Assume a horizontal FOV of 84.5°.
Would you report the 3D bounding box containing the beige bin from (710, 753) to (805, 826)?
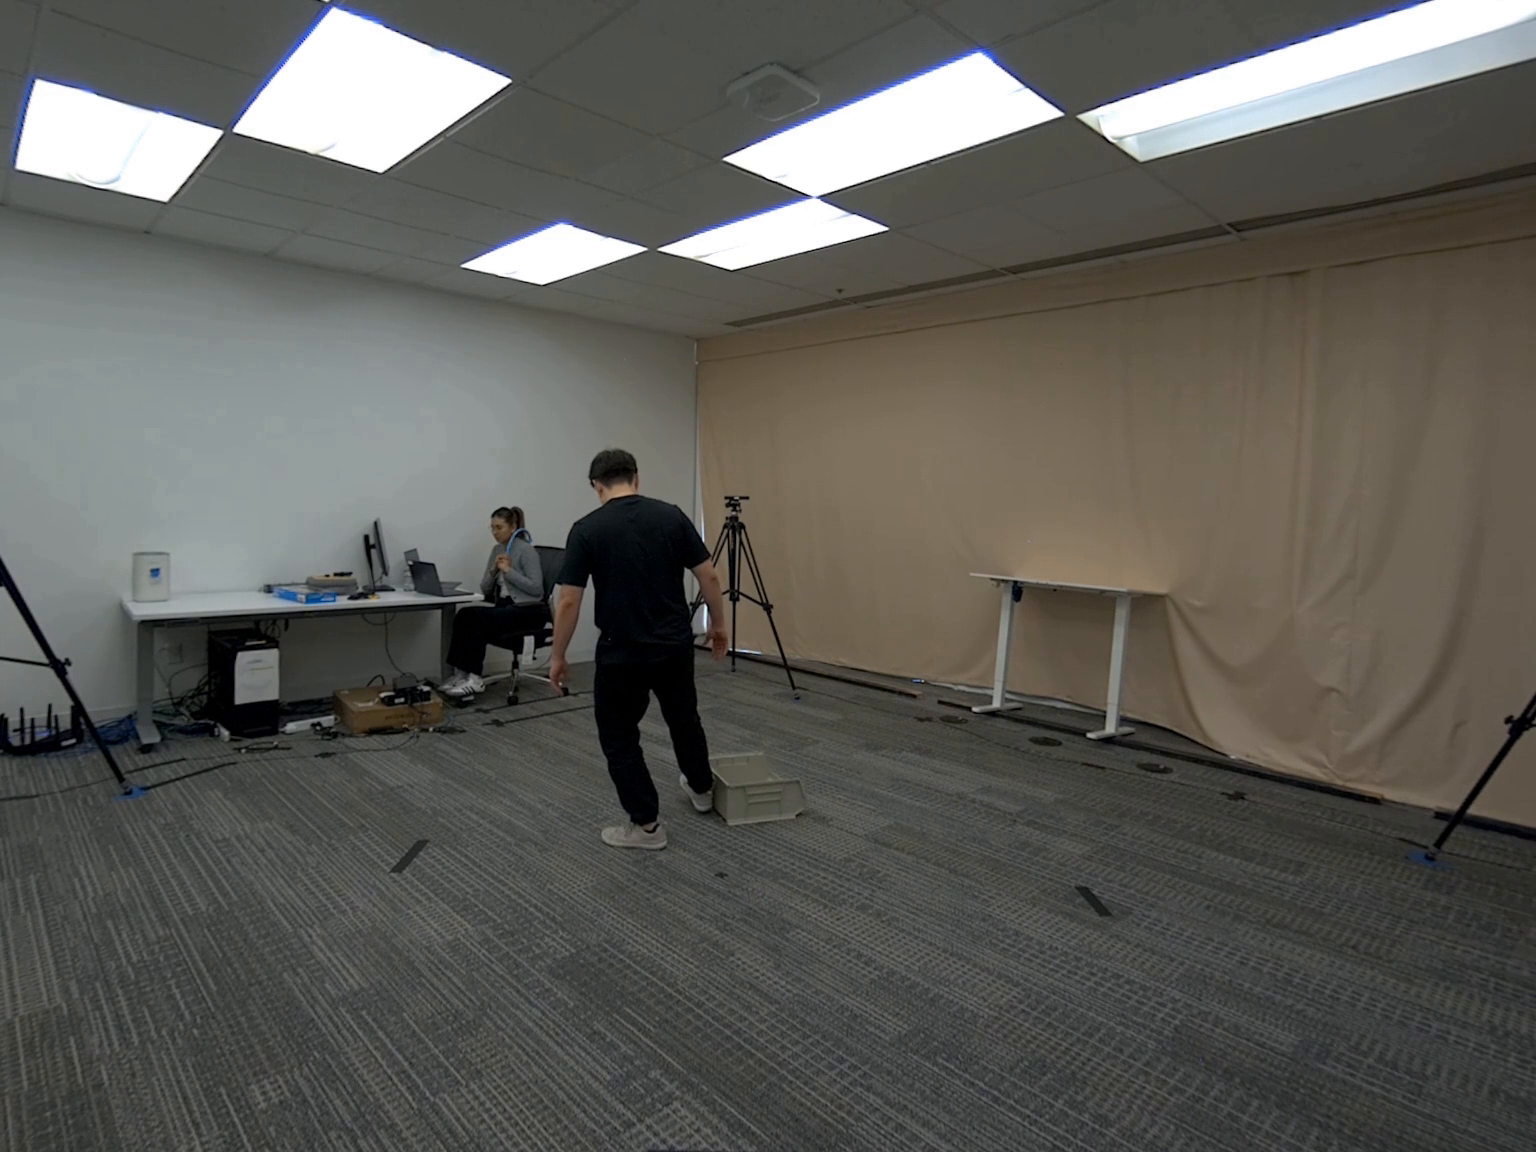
[{"bbox_3d":[-0.089,0.956,3.829,0.371,0.188,0.430,-1,5,-22],"label":"beige bin"}]
